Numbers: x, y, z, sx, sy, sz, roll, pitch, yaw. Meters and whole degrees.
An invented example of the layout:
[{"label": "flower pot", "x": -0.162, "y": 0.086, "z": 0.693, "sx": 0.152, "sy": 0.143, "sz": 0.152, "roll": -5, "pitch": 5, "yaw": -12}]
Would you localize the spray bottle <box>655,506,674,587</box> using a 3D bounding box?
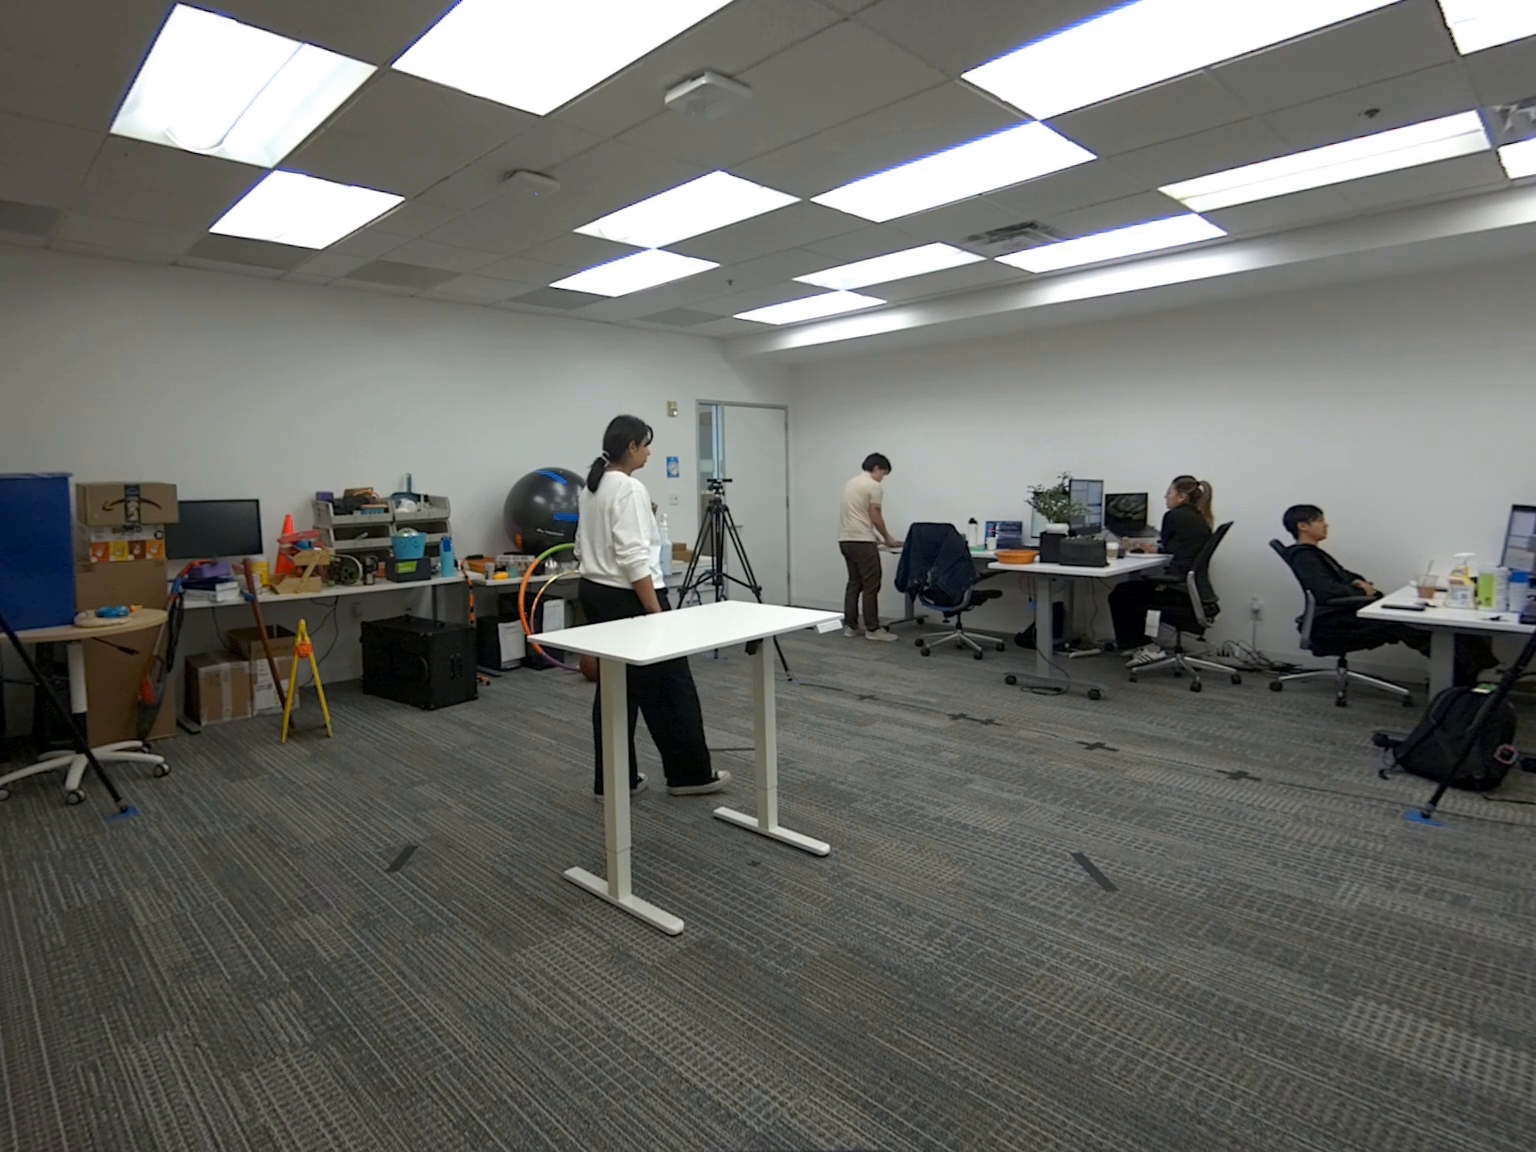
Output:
[{"label": "spray bottle", "x": -0.489, "y": -0.141, "z": 3.981, "sx": 0.088, "sy": 0.296, "sz": 0.089, "roll": 3, "pitch": 5, "yaw": 12}]
